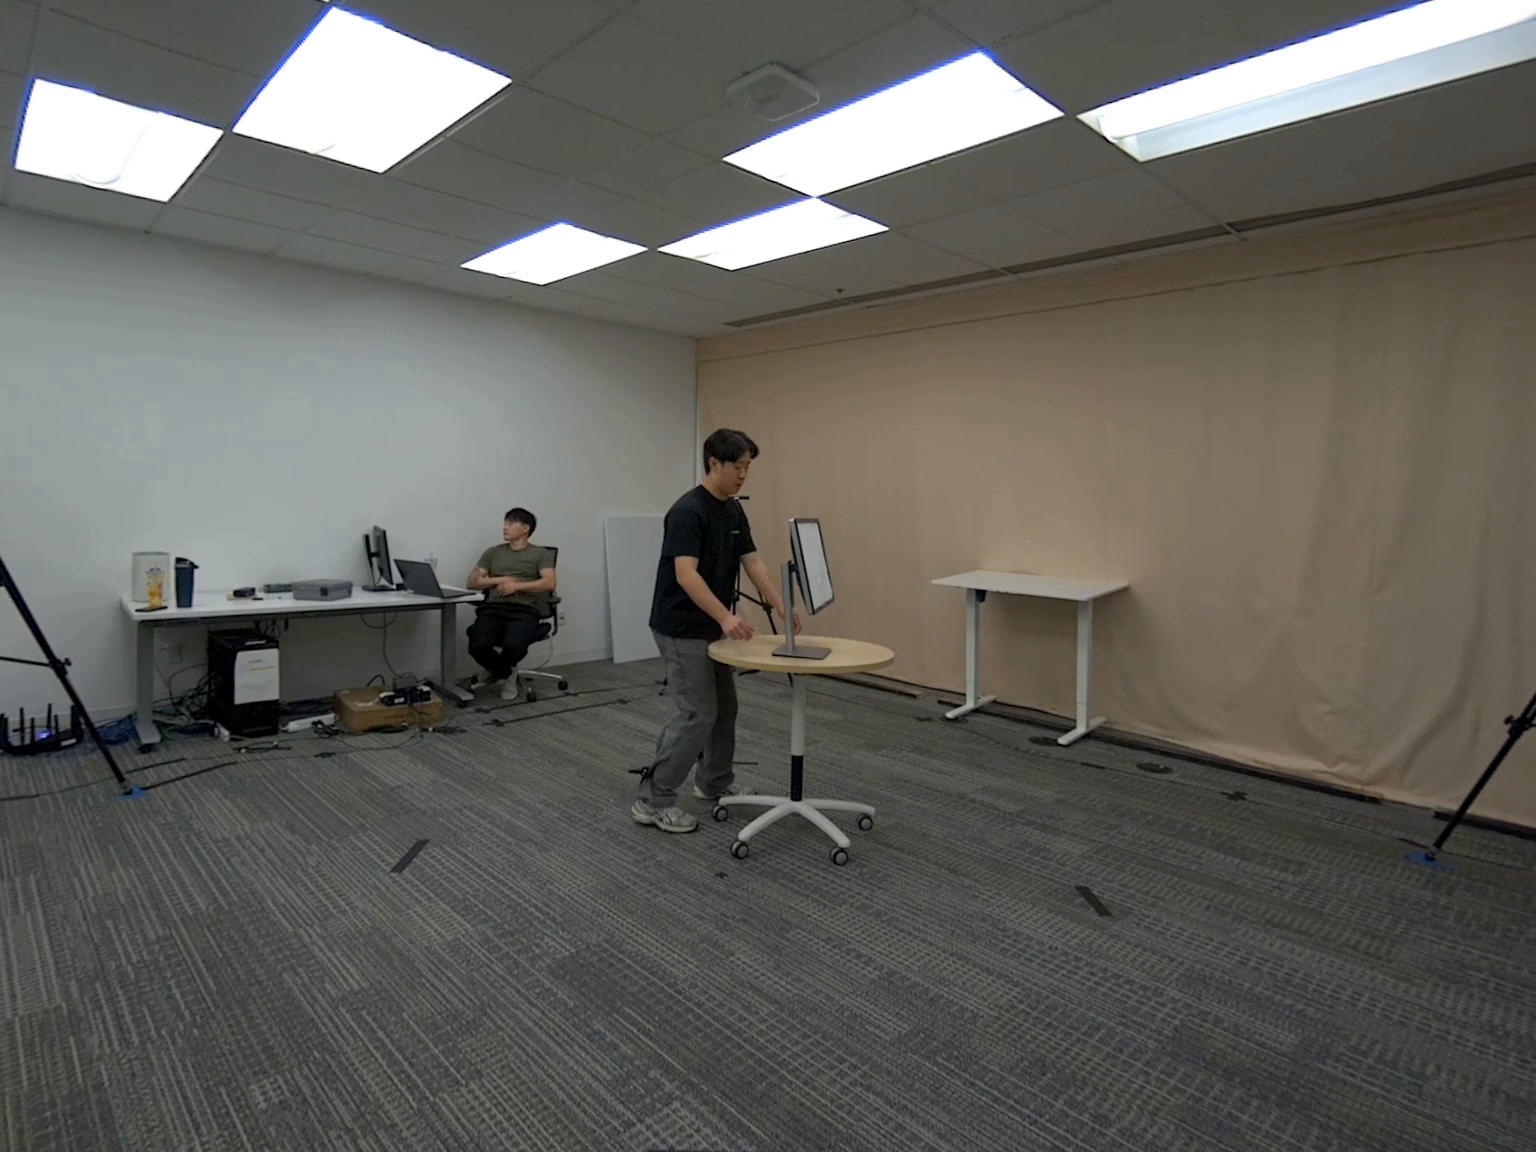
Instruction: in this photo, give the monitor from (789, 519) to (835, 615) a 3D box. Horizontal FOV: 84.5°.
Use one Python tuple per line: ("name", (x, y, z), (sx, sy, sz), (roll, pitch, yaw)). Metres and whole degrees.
("monitor", (0.146, 0.049, 3.380), (0.225, 0.564, 0.556), (5, 4, 14))
